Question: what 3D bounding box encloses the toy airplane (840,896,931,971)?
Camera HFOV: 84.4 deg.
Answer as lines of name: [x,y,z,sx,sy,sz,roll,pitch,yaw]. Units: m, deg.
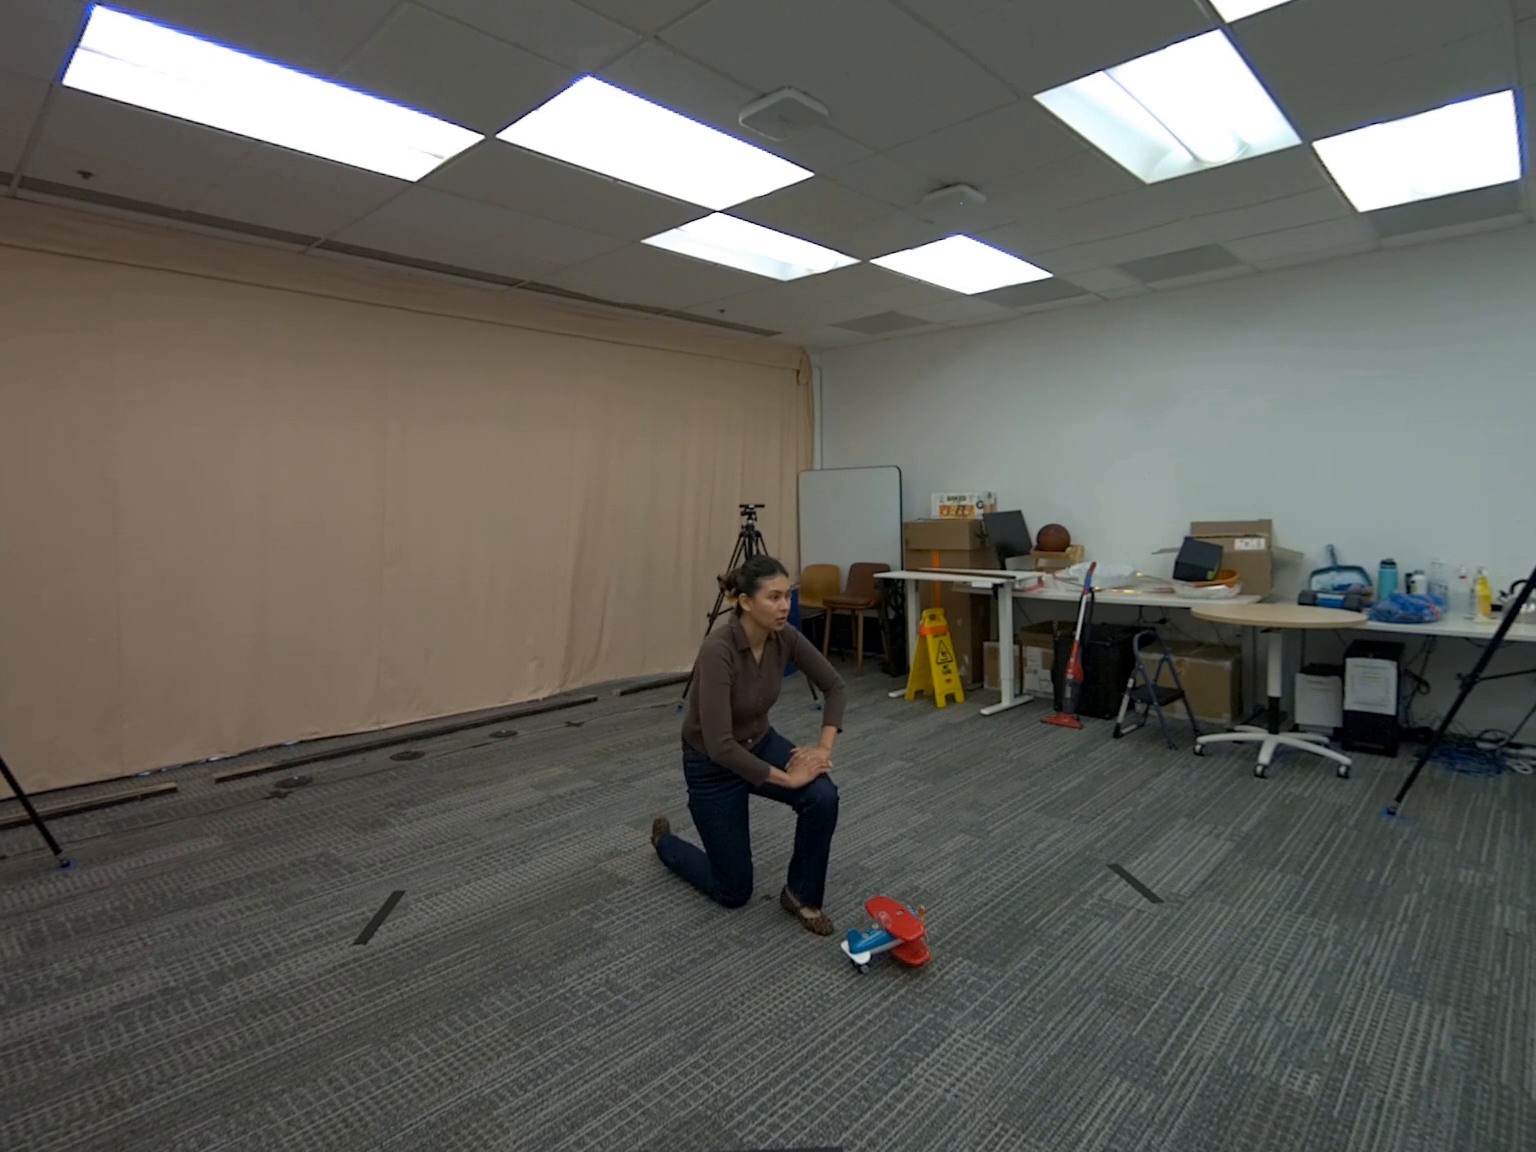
toy airplane: [0.371,1.097,2.525,0.259,0.156,0.251,4,4,39]
